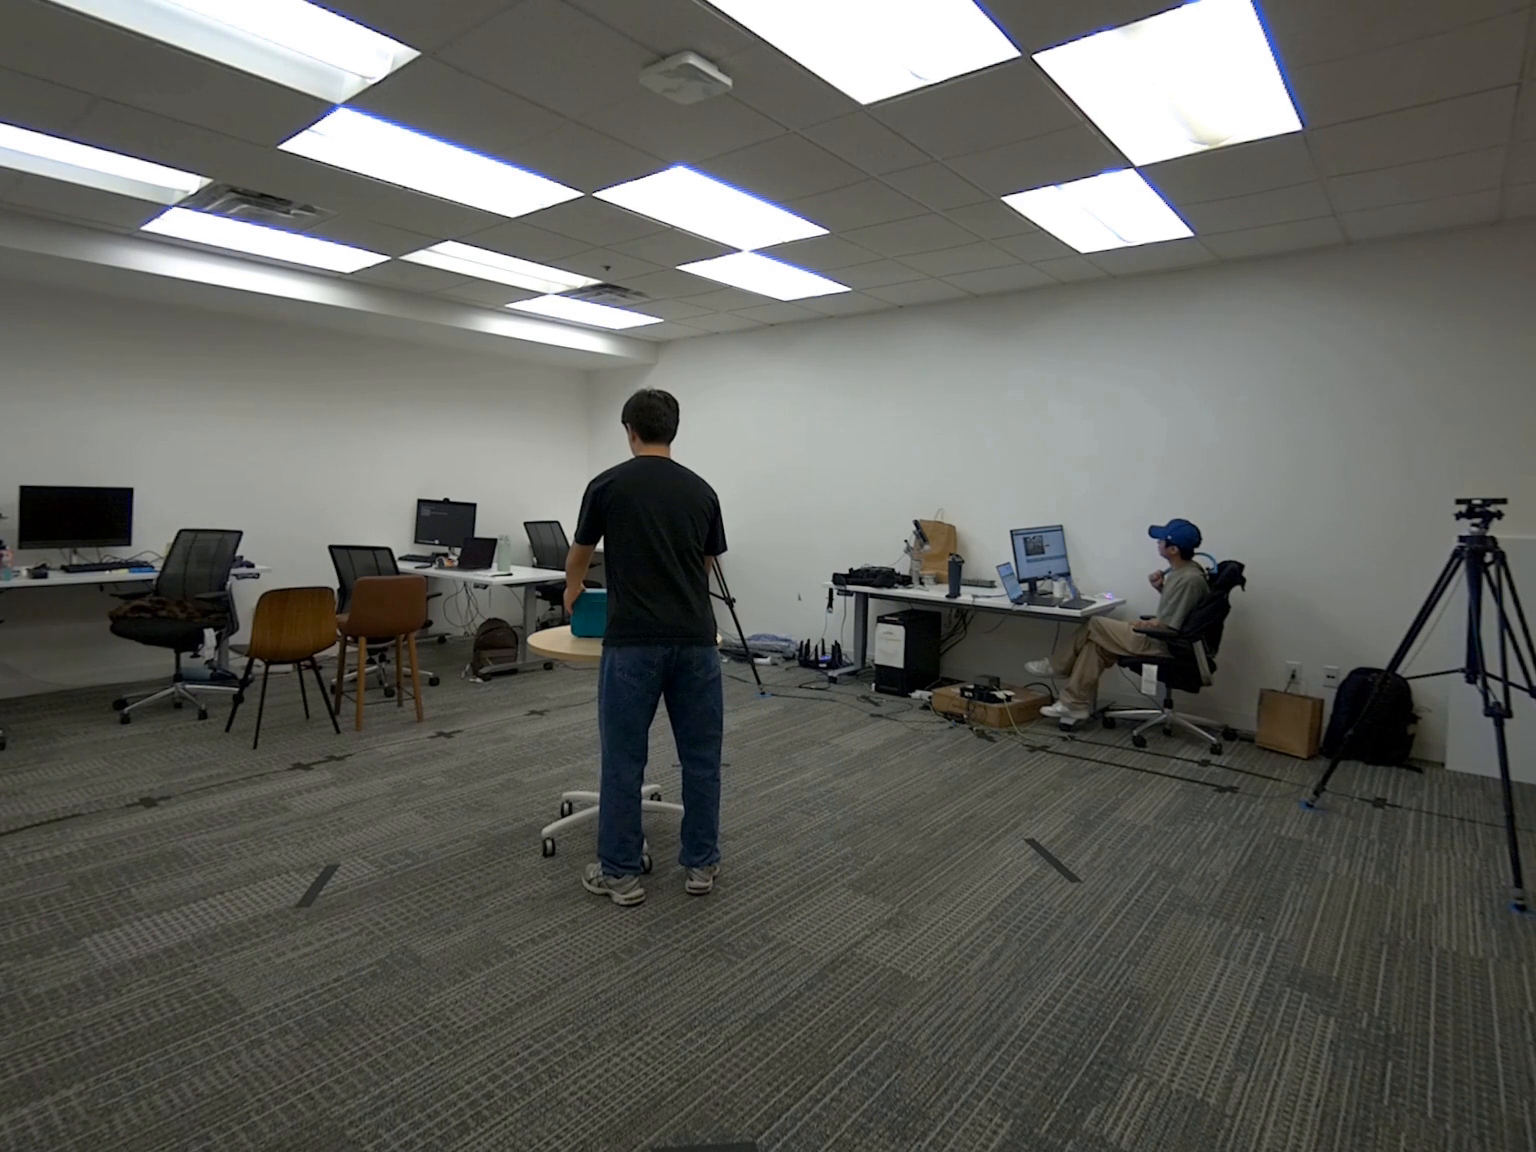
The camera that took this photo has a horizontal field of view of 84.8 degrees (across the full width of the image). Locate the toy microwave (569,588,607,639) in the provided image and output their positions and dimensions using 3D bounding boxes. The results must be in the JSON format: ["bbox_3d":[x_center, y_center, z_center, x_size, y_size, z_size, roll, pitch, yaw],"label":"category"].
[{"bbox_3d":[-0.655,0.145,3.409,0.287,0.183,0.152,1,4,2],"label":"toy microwave"}]
